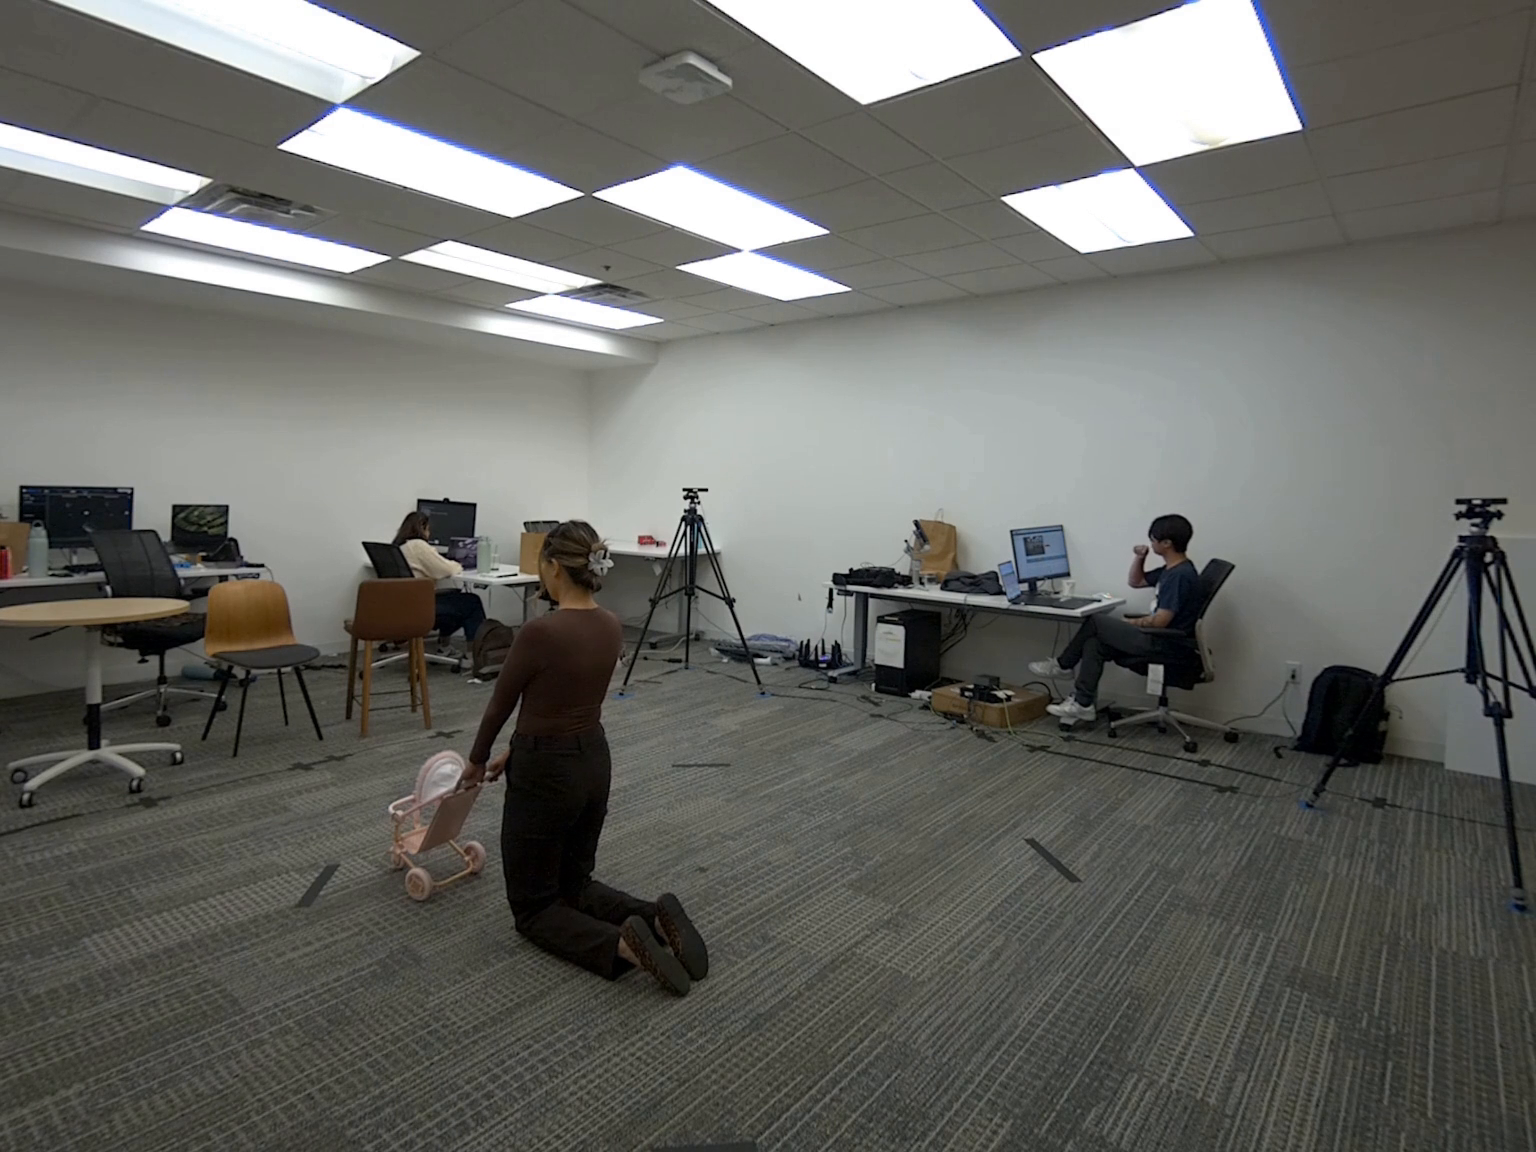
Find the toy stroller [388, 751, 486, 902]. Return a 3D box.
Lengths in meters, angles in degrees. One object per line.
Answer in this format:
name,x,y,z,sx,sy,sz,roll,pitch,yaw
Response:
toy stroller,-1.172,0.845,2.970,0.354,0.531,0.273,24,14,30
